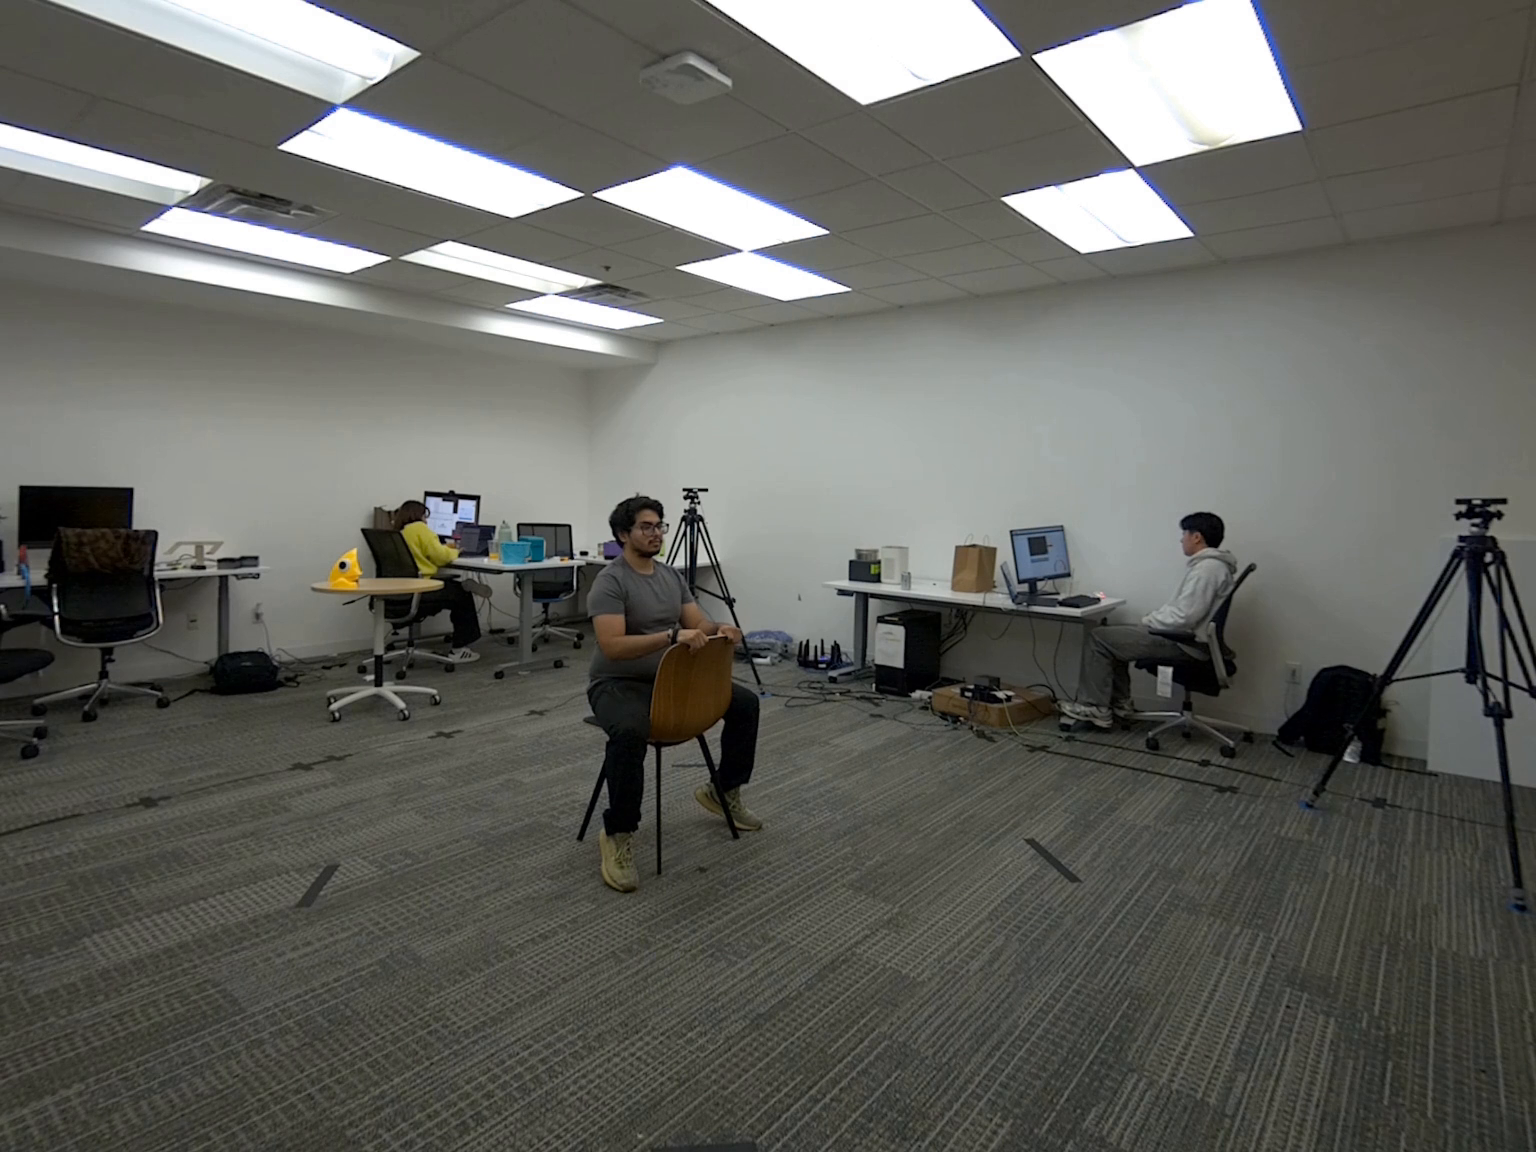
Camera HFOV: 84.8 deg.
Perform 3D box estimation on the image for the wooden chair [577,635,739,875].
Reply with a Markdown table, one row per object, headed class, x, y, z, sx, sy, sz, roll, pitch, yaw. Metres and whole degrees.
| class | x | y | z | sx | sy | sz | roll | pitch | yaw |
| --- | --- | --- | --- | --- | --- | --- | --- | --- | --- |
| wooden chair | -0.442 | 0.616 | 3.349 | 0.542 | 0.873 | 0.464 | 9 | 8 | 39 |
